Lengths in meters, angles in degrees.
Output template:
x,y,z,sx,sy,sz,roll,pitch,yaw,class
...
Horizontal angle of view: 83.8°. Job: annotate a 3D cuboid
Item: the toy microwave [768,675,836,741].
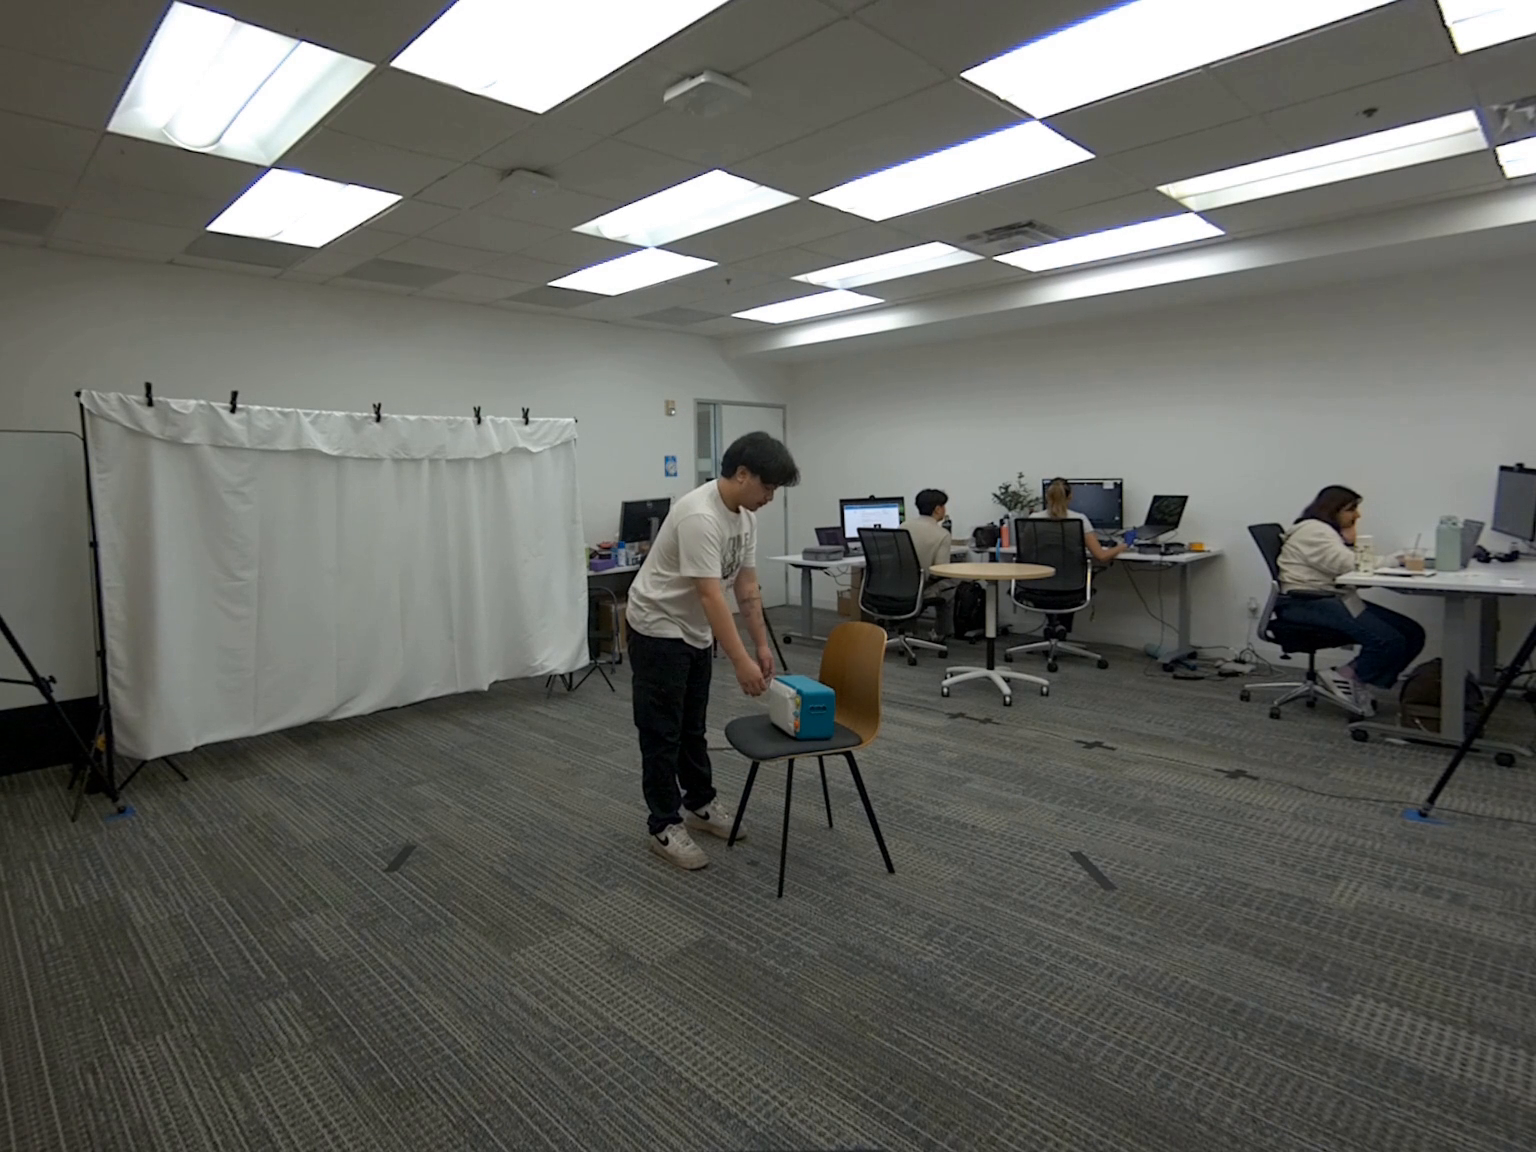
x,y,z,sx,sy,sz,roll,pitch,yaw,class
0.121,0.472,3.067,0.150,0.184,0.292,1,4,-18,toy microwave
